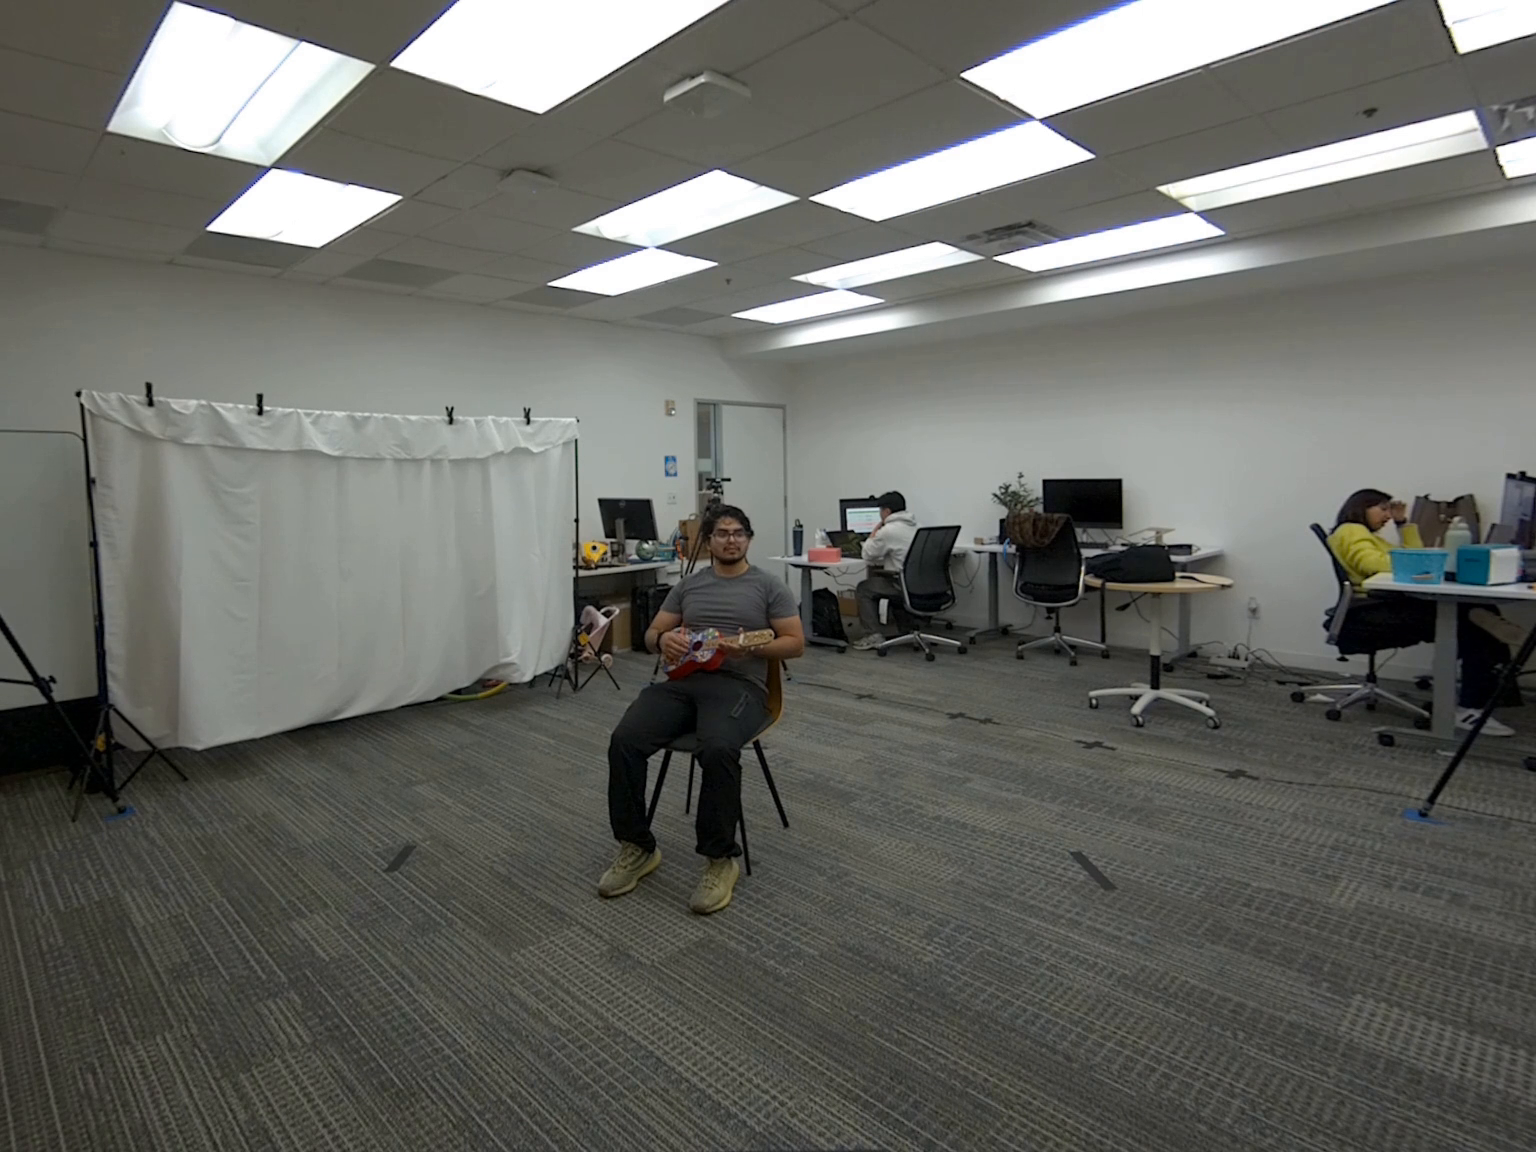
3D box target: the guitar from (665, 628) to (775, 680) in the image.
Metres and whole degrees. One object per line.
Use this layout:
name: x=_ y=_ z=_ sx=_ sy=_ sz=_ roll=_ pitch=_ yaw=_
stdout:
guitar: x=-0.201 y=0.285 z=3.124 sx=0.511 sy=0.195 sz=0.068 roll=-3 pitch=-37 yaw=37
